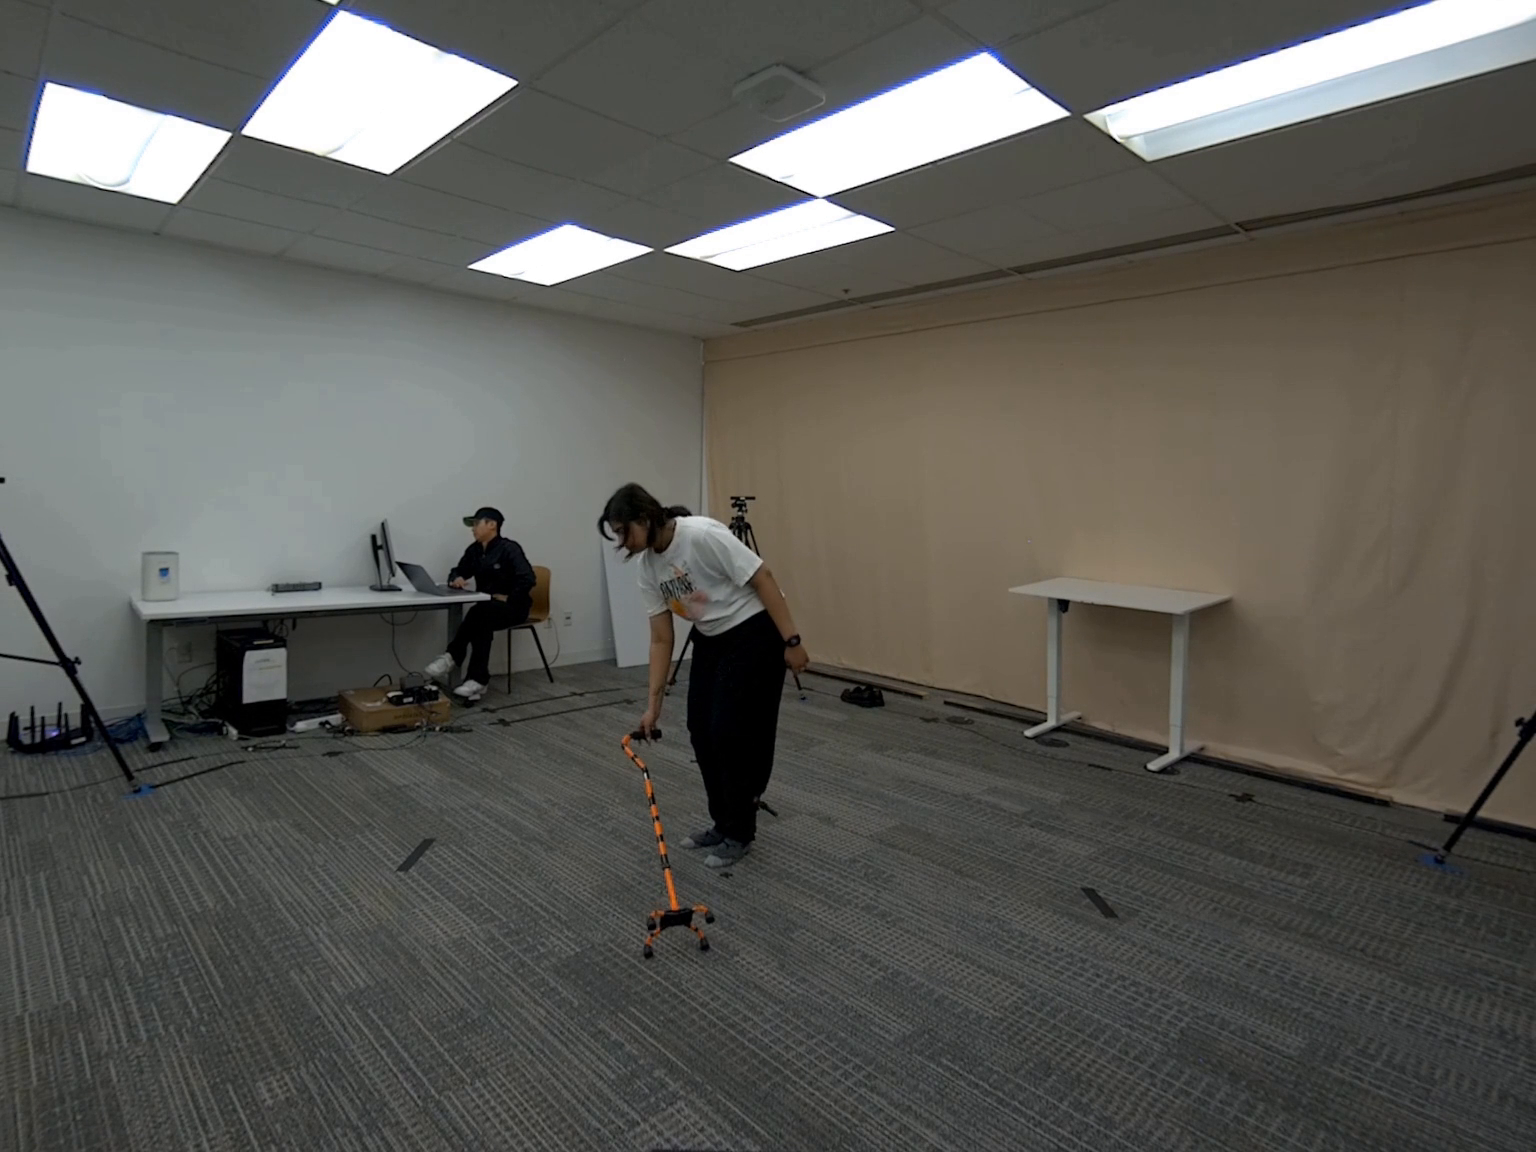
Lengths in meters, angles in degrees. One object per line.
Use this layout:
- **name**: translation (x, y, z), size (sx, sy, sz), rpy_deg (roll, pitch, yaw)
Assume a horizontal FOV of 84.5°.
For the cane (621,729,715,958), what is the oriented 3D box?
- **cane**: translation (-0.399, 0.860, 2.908), size (0.204, 0.149, 0.933), rpy_deg (-1, 30, -17)
